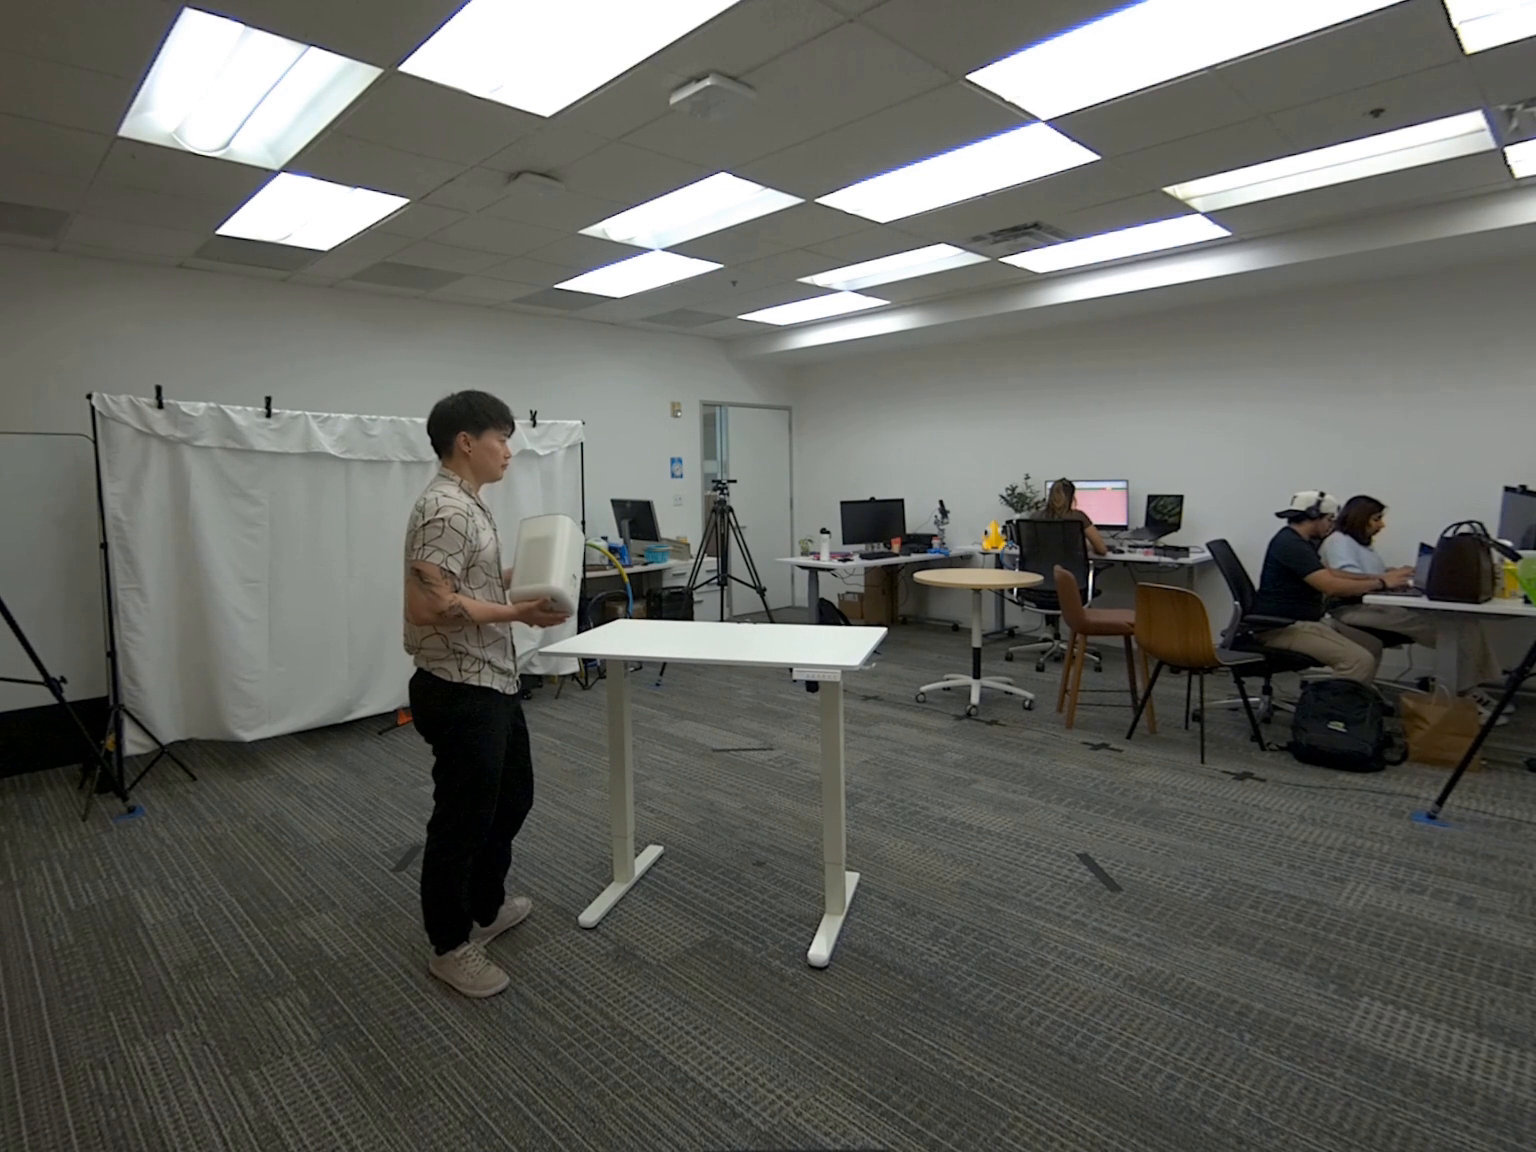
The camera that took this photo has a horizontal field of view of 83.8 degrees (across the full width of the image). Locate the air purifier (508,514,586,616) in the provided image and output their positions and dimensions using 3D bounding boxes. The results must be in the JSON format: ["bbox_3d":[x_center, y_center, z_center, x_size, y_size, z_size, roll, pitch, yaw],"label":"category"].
[{"bbox_3d":[-0.626,-0.021,2.442,0.173,0.272,0.165,-8,-33,8],"label":"air purifier"}]
